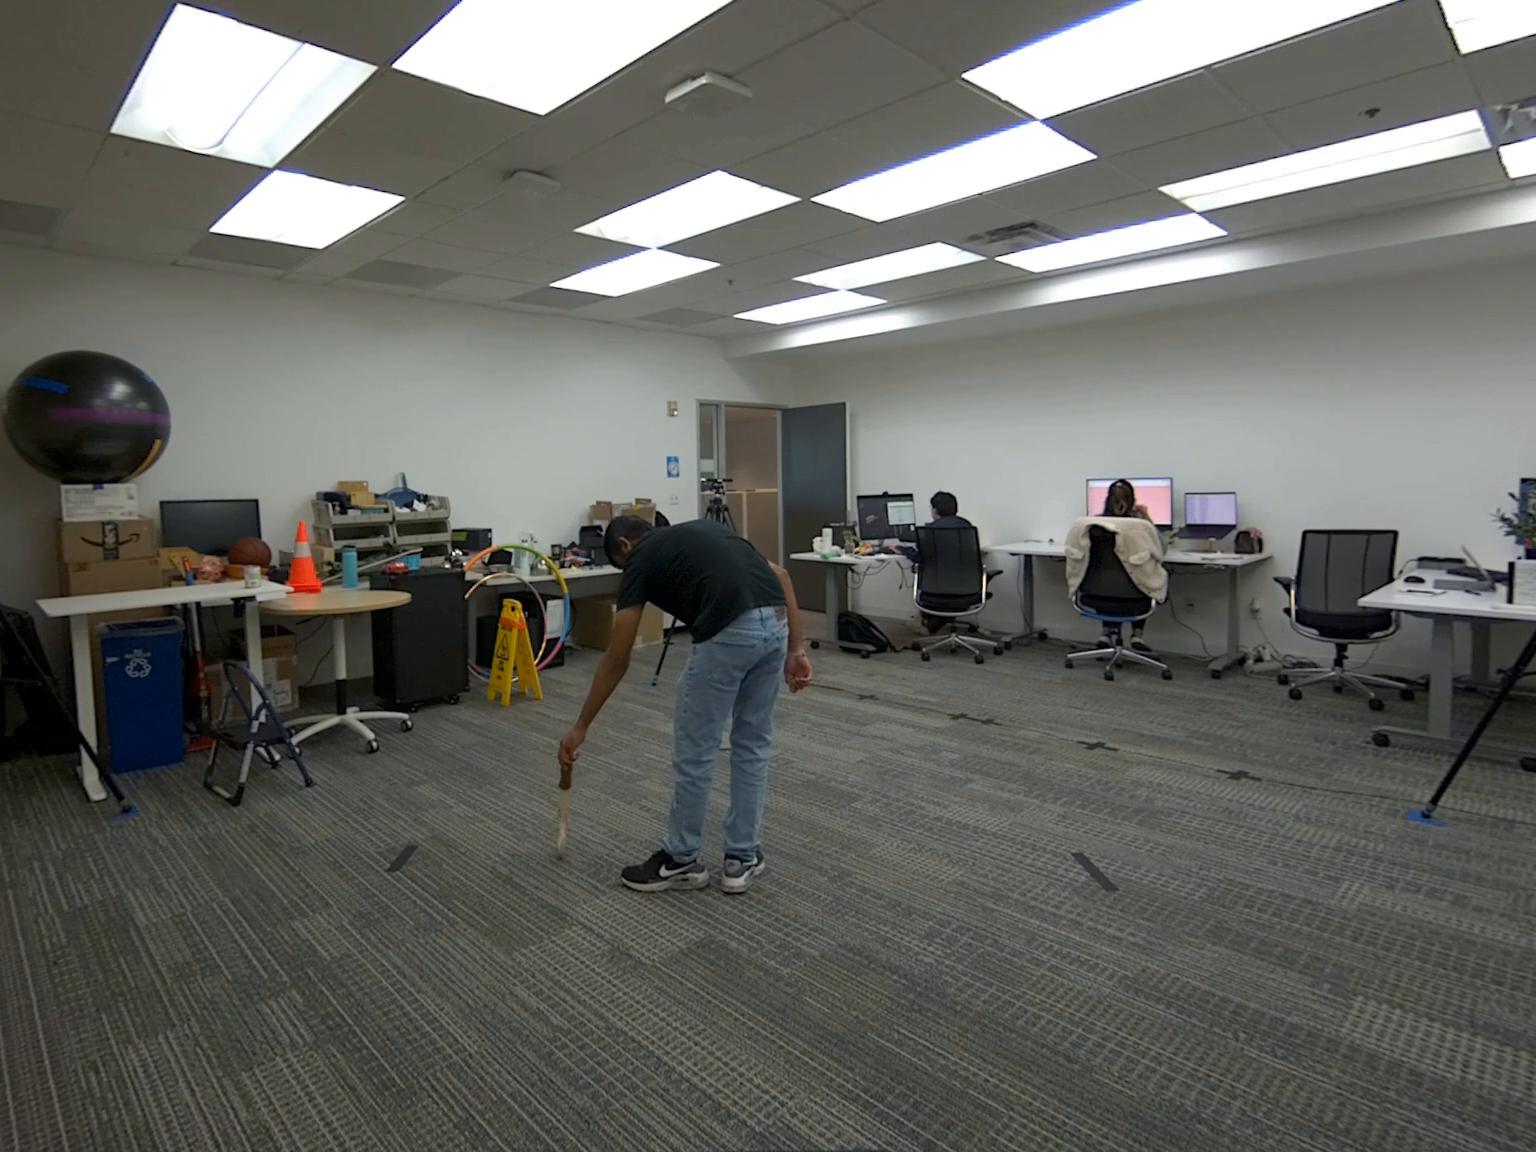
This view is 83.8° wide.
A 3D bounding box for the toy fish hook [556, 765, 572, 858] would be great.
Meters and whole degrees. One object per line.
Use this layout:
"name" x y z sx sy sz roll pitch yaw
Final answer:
"toy fish hook" -0.731 0.833 3.088 0.047 0.497 0.232 1 39 -17
